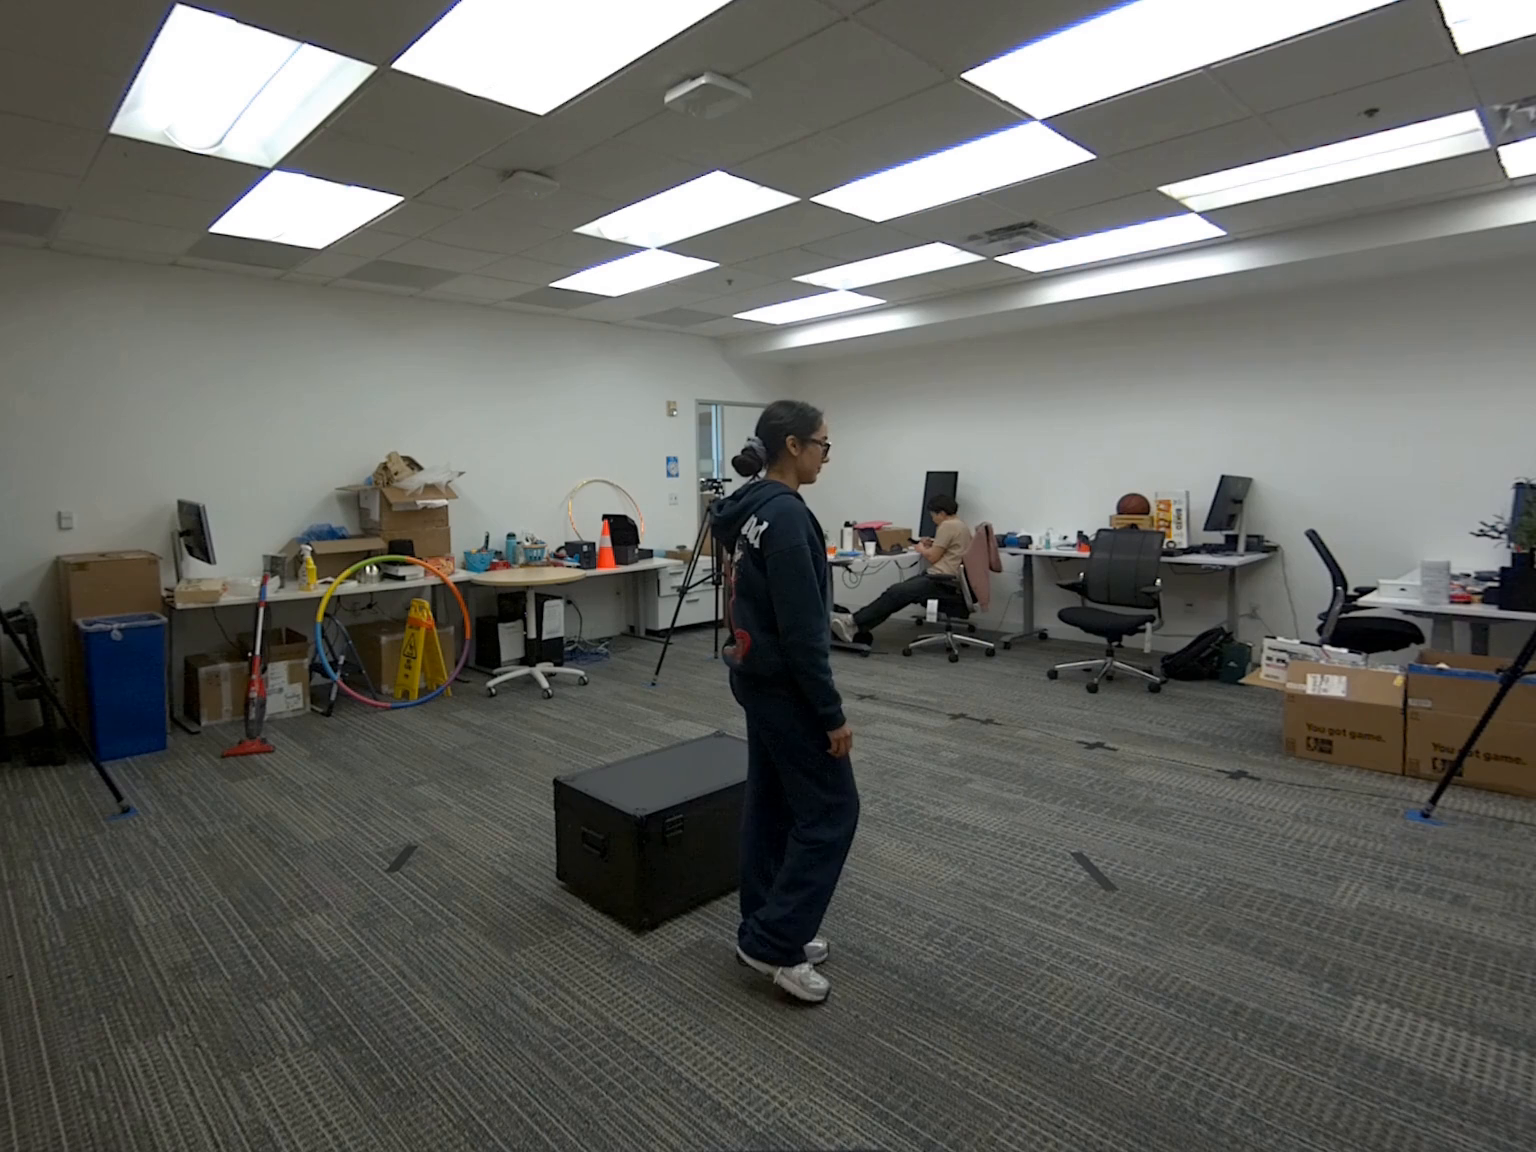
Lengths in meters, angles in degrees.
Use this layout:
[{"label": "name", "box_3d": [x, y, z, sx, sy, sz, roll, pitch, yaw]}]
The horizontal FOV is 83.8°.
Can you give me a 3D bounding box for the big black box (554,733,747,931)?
[{"label": "big black box", "box_3d": [-0.272, 0.864, 3.057, 0.839, 0.394, 0.537, -8, 9, -44]}]
